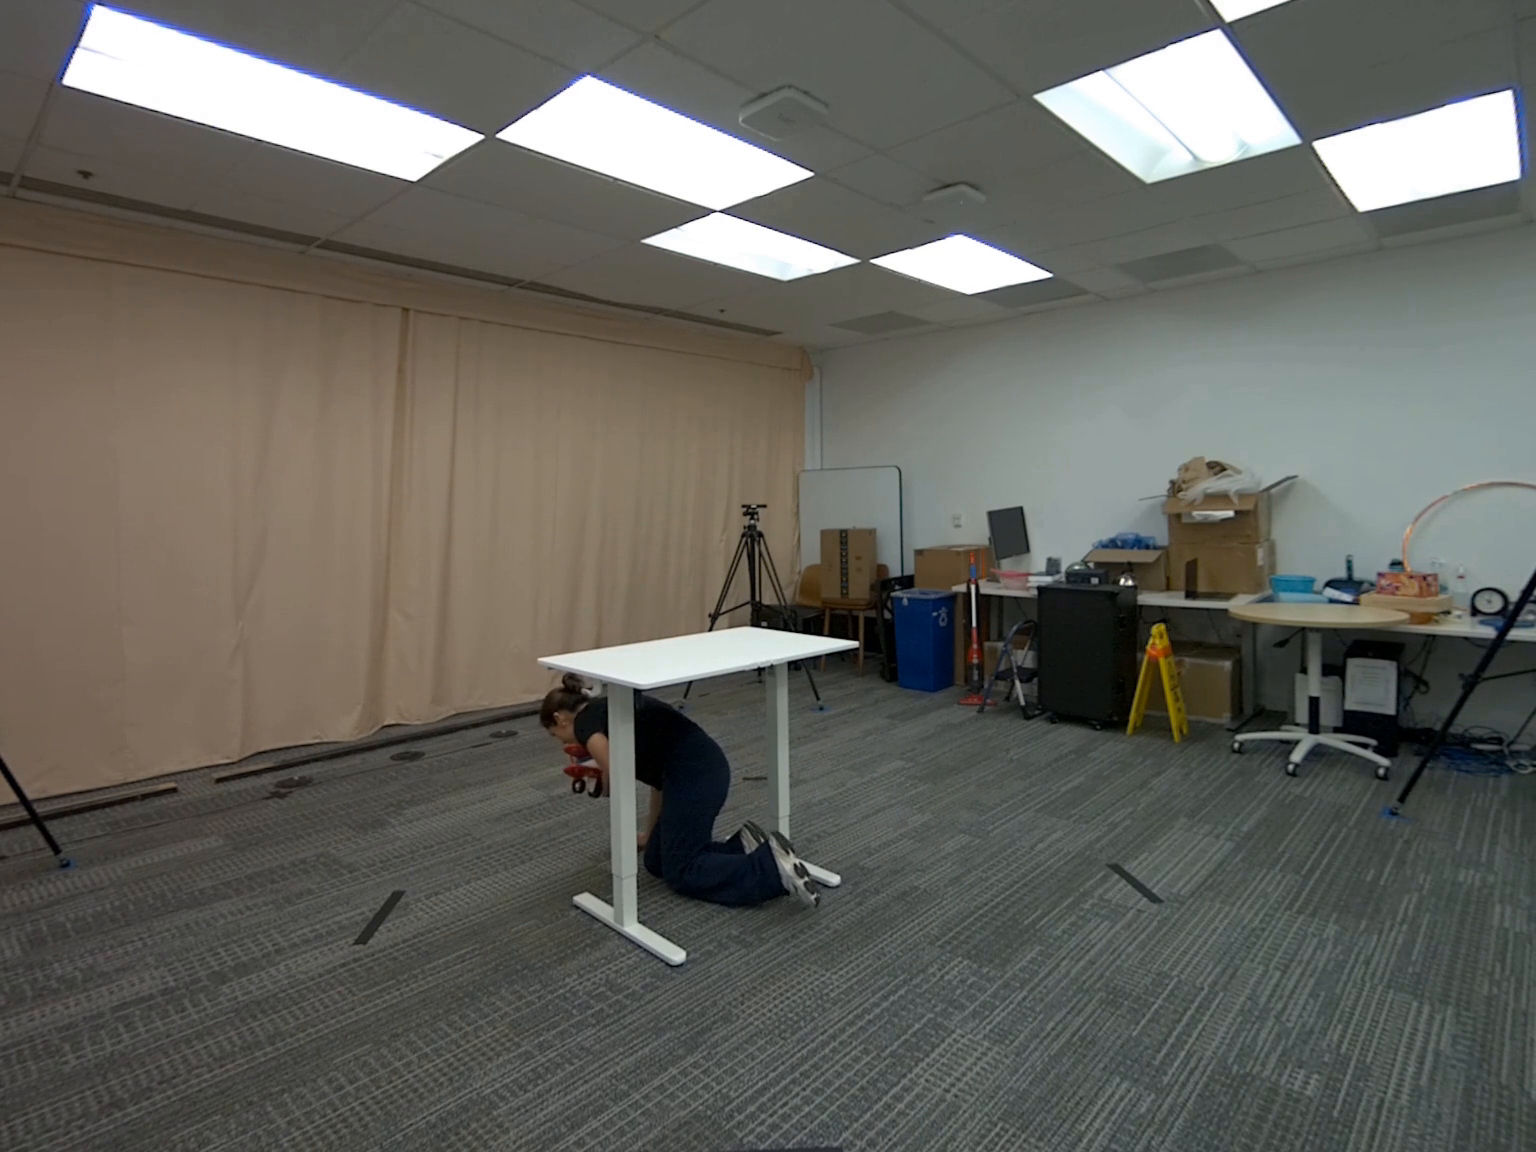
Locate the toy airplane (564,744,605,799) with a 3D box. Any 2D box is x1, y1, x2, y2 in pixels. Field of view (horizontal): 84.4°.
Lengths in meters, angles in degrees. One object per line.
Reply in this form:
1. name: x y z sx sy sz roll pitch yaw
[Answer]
1. toy airplane: -0.604 0.713 3.142 0.259 0.161 0.244 -19 -41 -3
